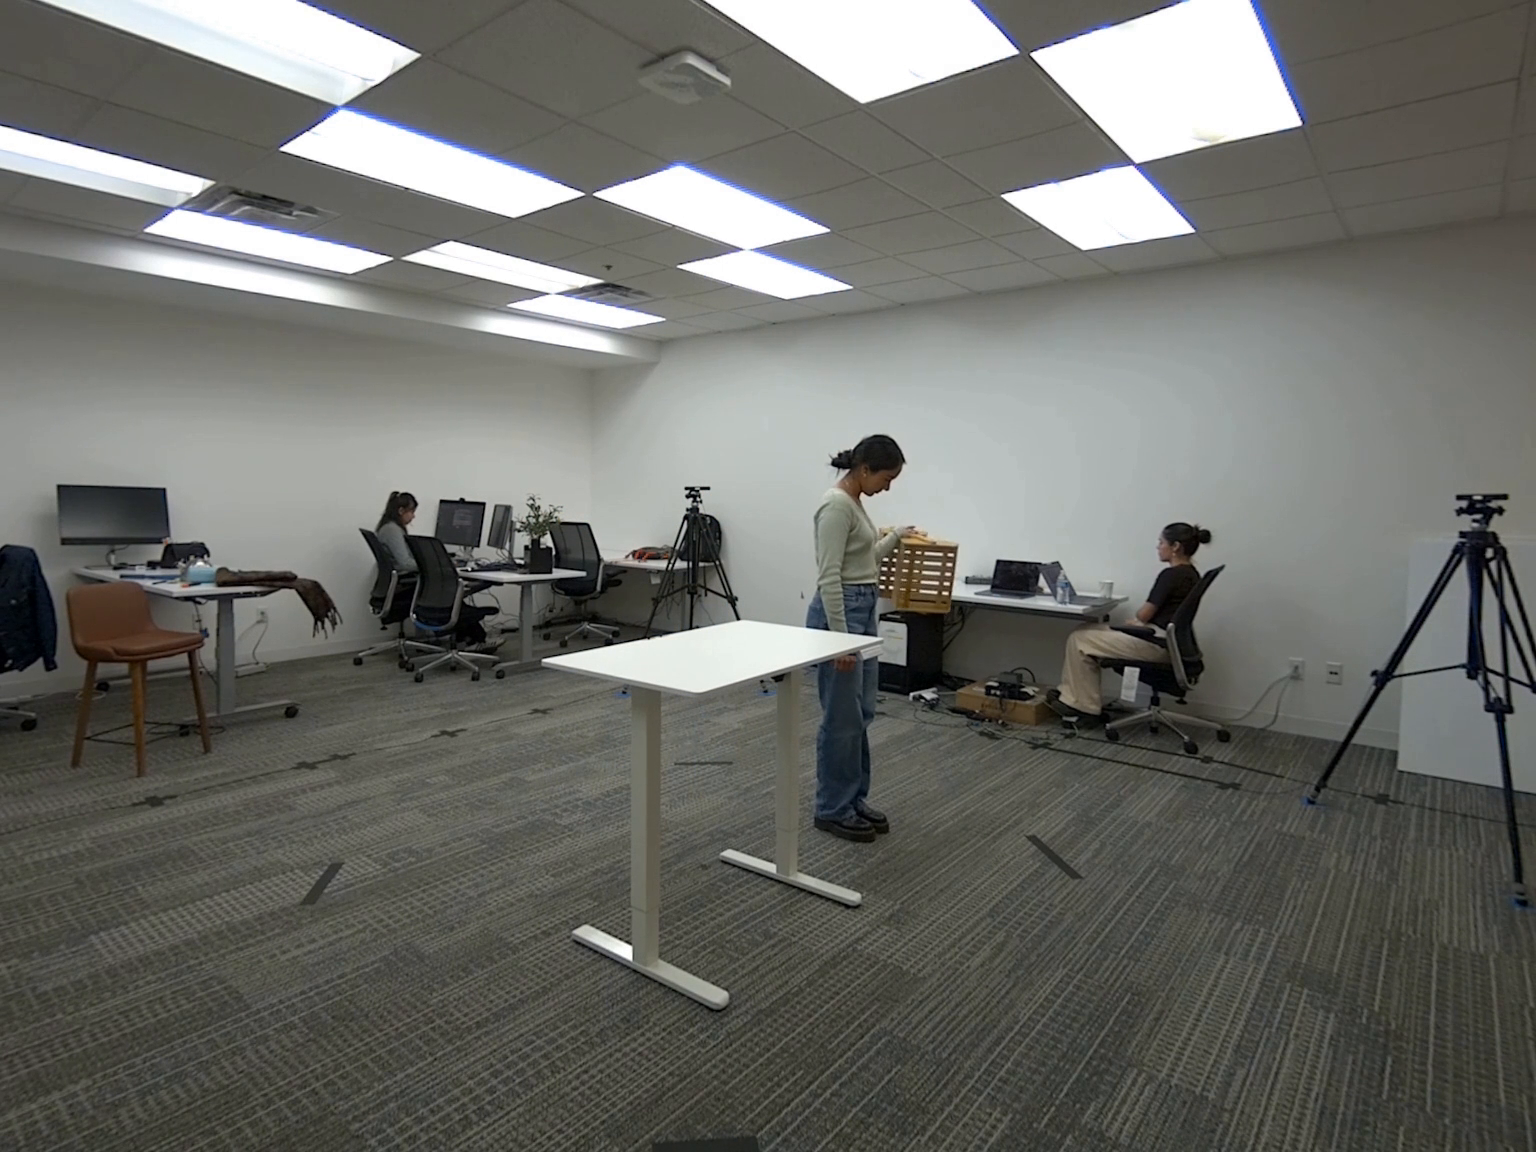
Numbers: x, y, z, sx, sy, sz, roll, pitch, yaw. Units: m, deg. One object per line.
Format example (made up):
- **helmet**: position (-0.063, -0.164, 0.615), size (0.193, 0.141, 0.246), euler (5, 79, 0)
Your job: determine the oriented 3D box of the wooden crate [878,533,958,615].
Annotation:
- **wooden crate**: position (0.645, -0.038, 3.767), size (0.301, 0.320, 0.278), euler (1, 15, -5)
